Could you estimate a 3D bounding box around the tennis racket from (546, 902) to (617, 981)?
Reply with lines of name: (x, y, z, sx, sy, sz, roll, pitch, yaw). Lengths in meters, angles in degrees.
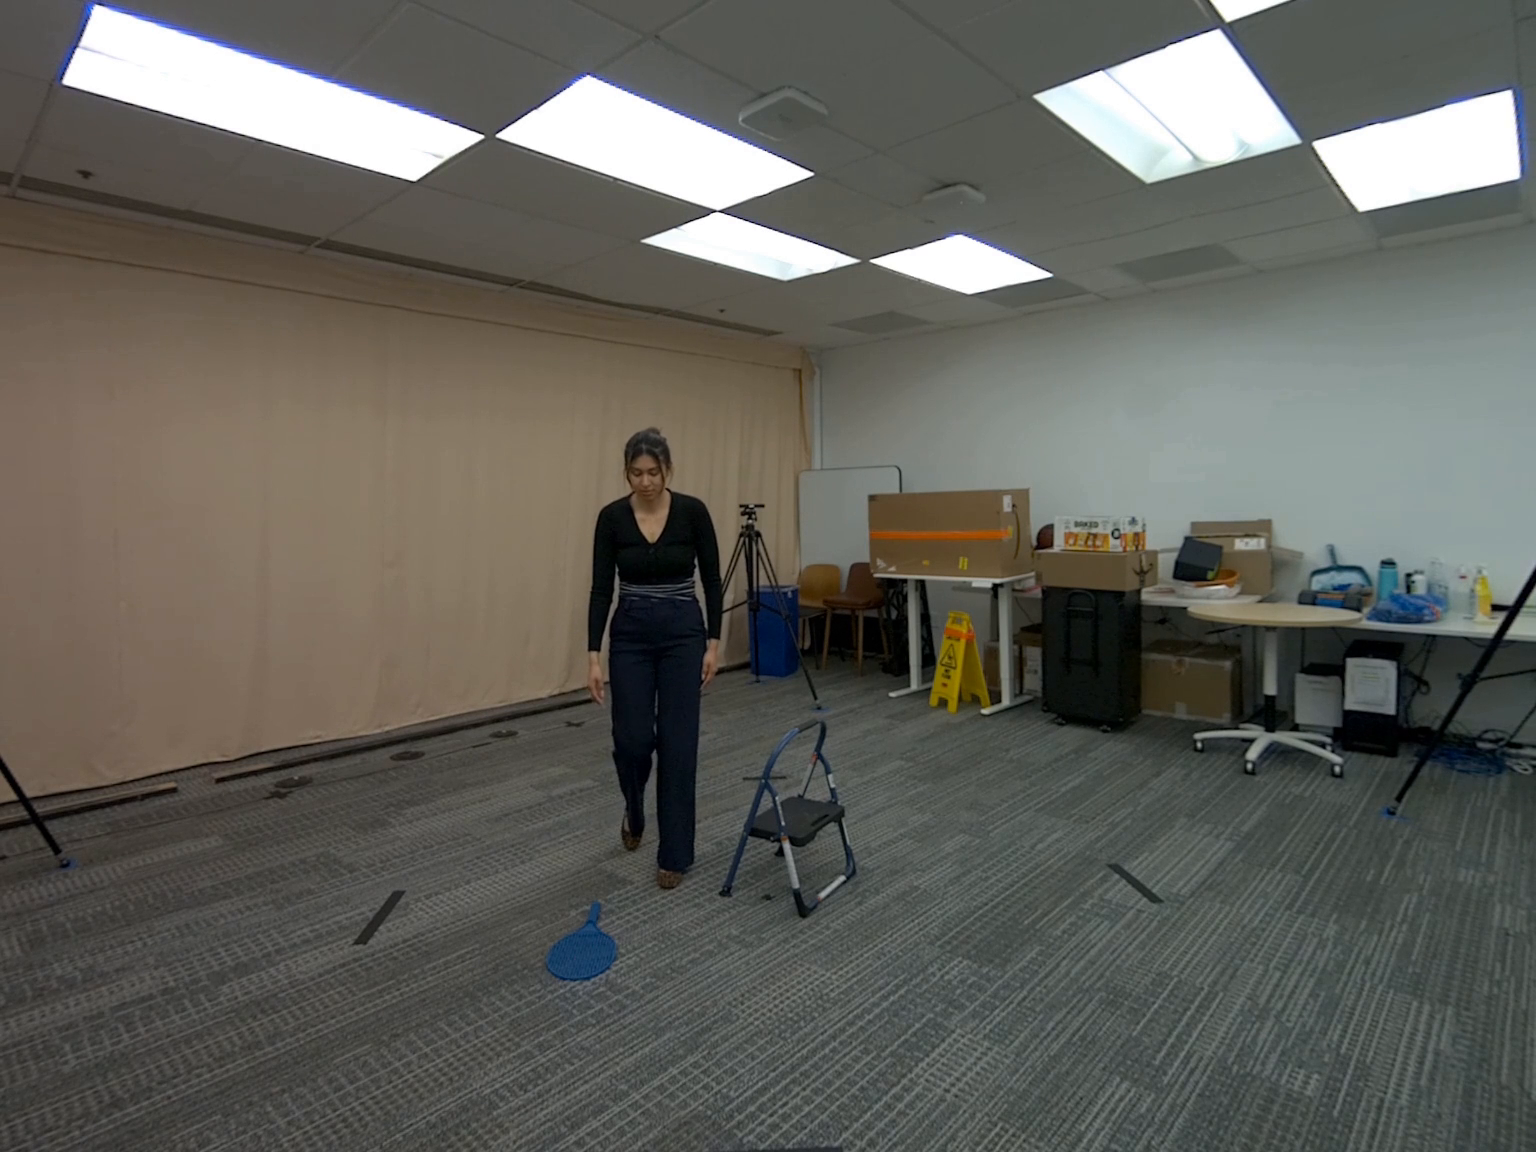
tennis racket: (-0.572, 1.160, 2.698, 0.214, 0.031, 0.434, -1, 8, 0)
